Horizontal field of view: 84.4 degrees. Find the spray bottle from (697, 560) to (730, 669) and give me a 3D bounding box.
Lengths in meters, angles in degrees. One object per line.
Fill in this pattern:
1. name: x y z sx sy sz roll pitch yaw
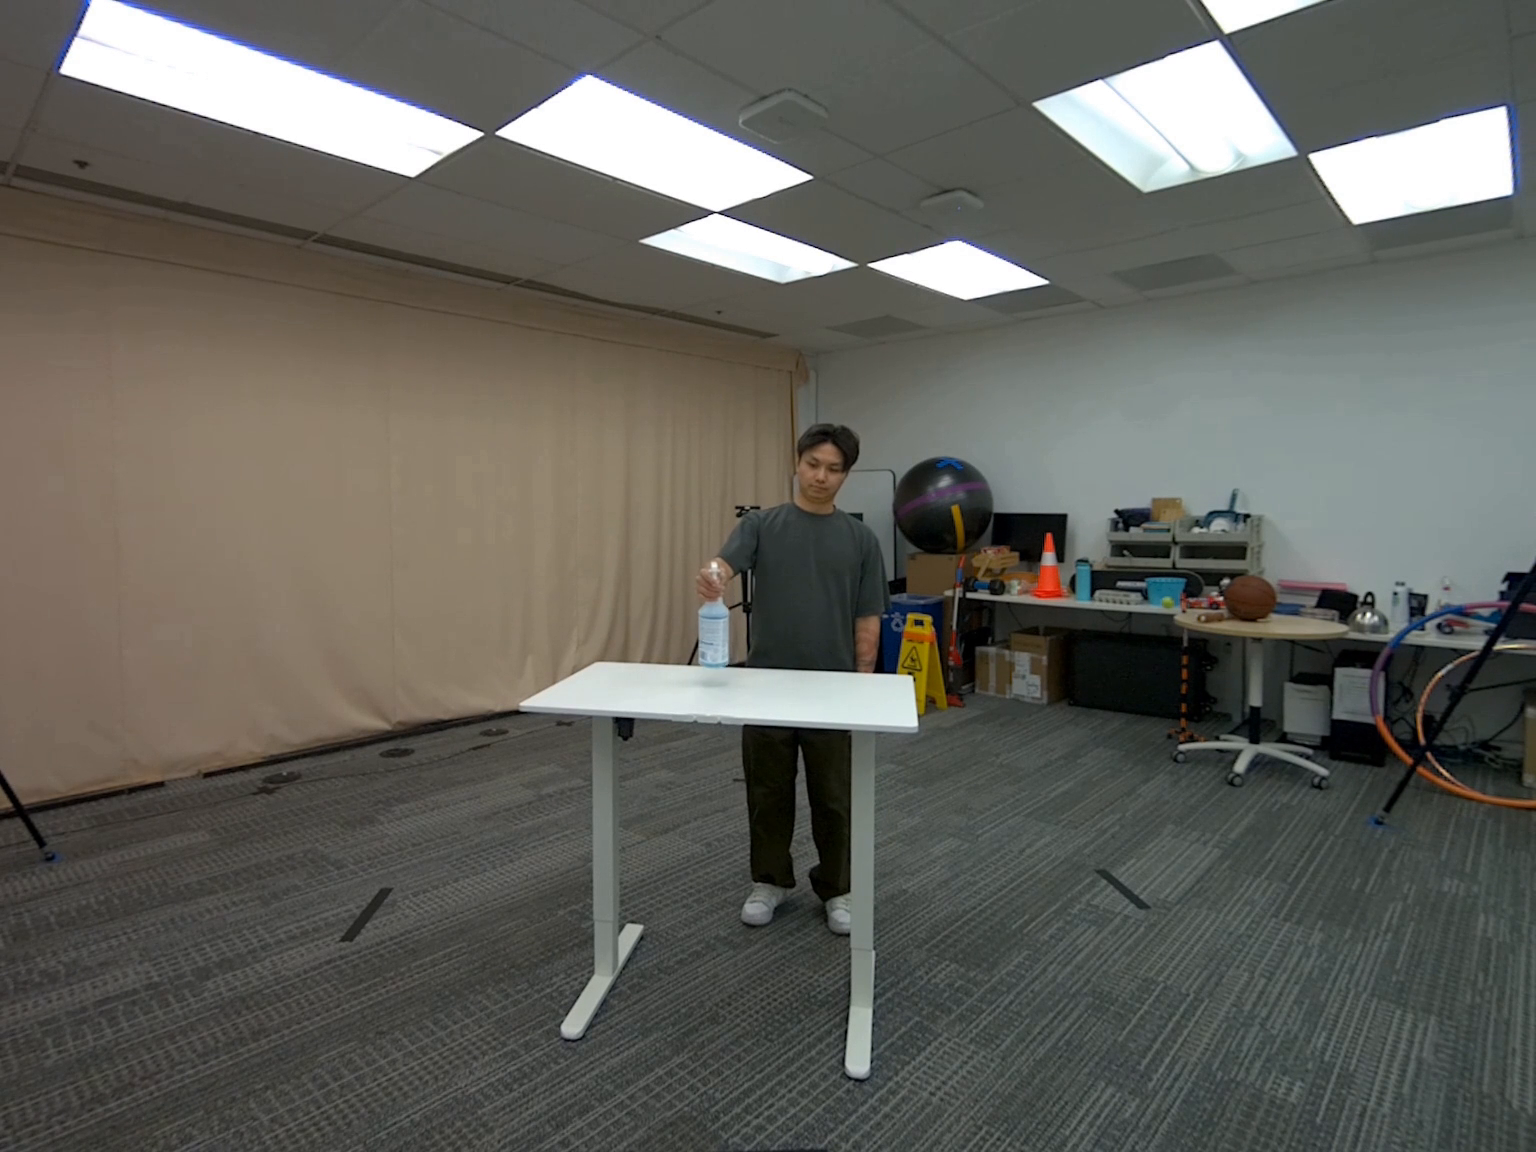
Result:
1. spray bottle: -0.145 0.108 2.360 0.089 0.295 0.088 6 13 23
